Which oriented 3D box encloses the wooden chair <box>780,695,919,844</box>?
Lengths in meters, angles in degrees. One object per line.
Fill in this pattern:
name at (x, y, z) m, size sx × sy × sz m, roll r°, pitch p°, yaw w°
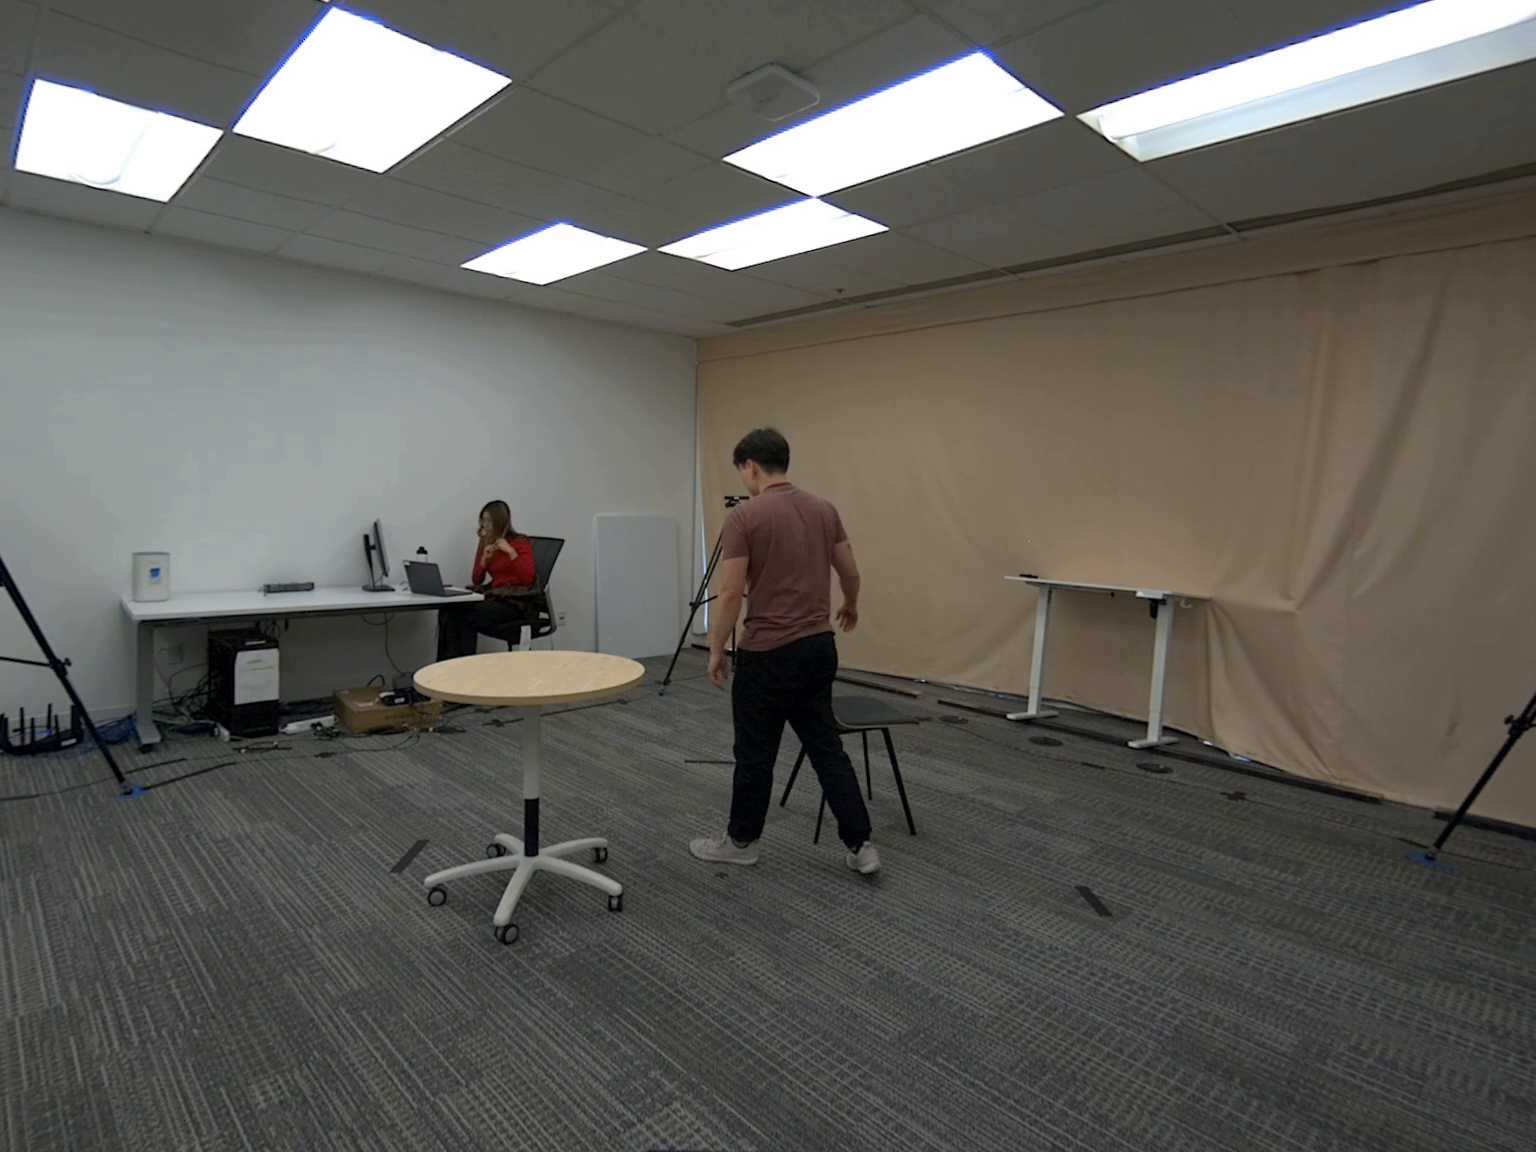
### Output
wooden chair at (0.349, 0.641, 3.651) m, size 0.517 × 0.875 × 0.485 m, roll -4°, pitch 4°, yaw -17°
